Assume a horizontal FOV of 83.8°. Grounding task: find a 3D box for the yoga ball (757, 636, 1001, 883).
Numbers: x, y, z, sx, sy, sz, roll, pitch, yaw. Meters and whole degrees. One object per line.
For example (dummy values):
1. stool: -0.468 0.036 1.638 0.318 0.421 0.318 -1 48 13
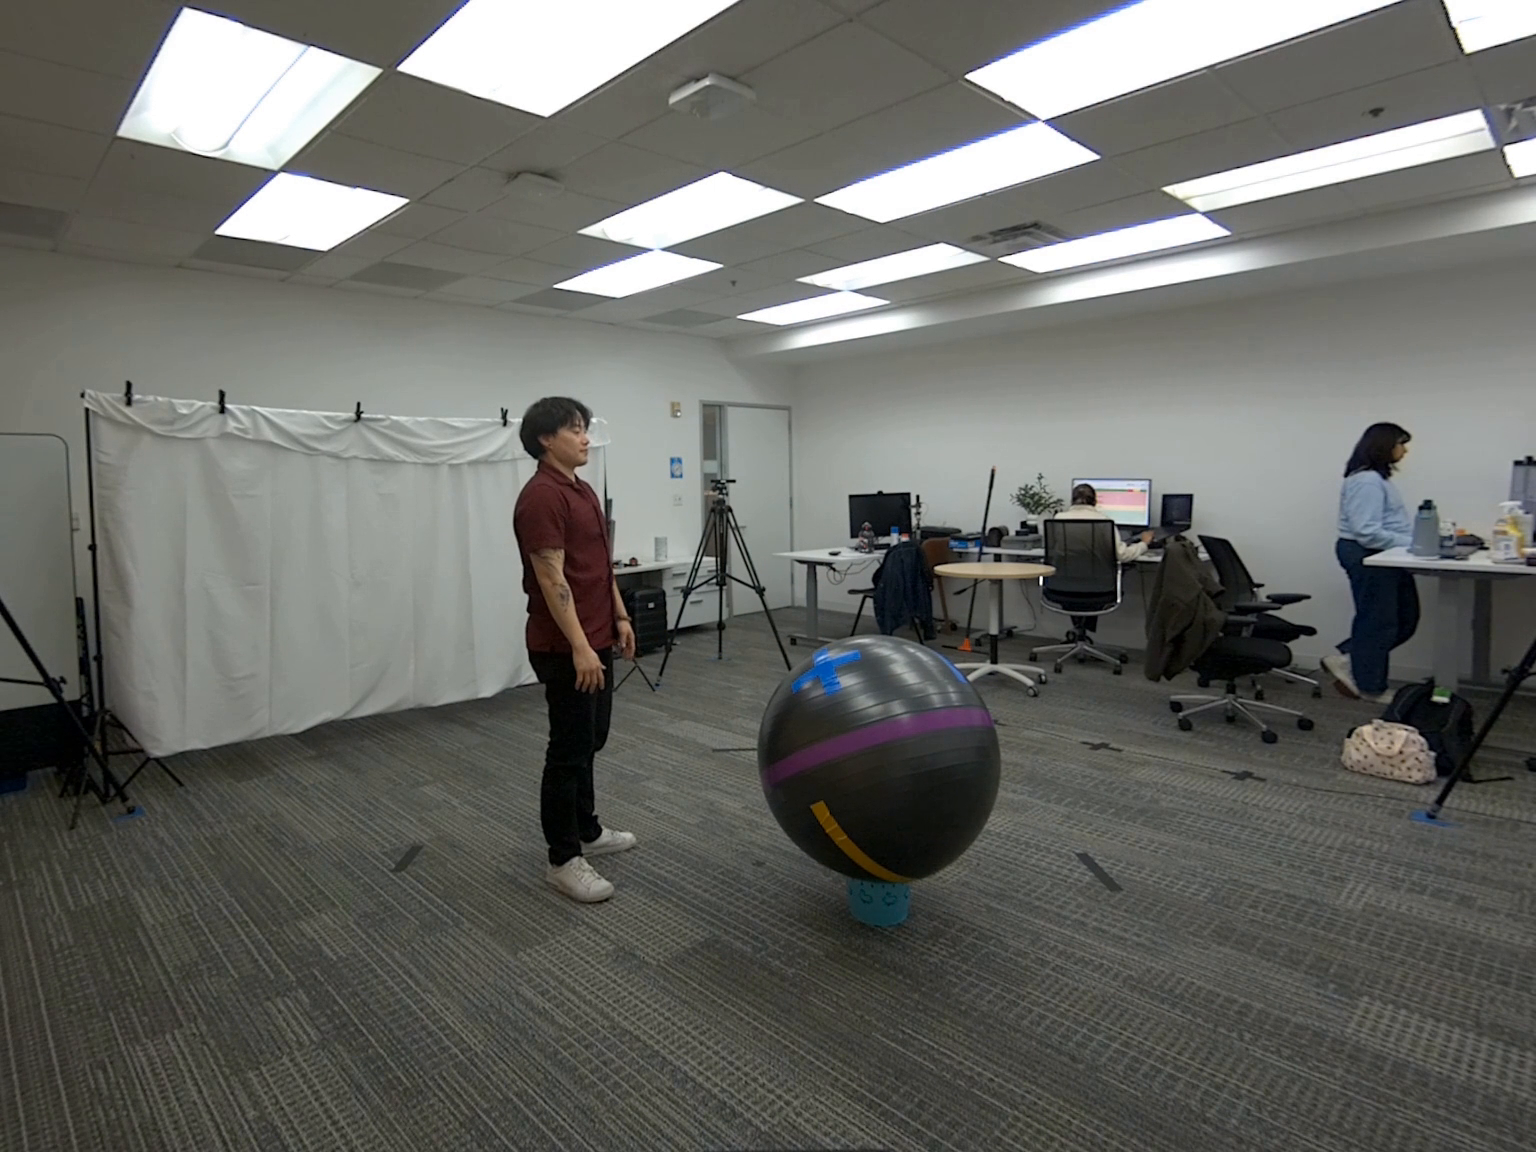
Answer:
1. yoga ball: 0.346 0.575 2.716 0.757 0.755 0.762 -1 5 -2
